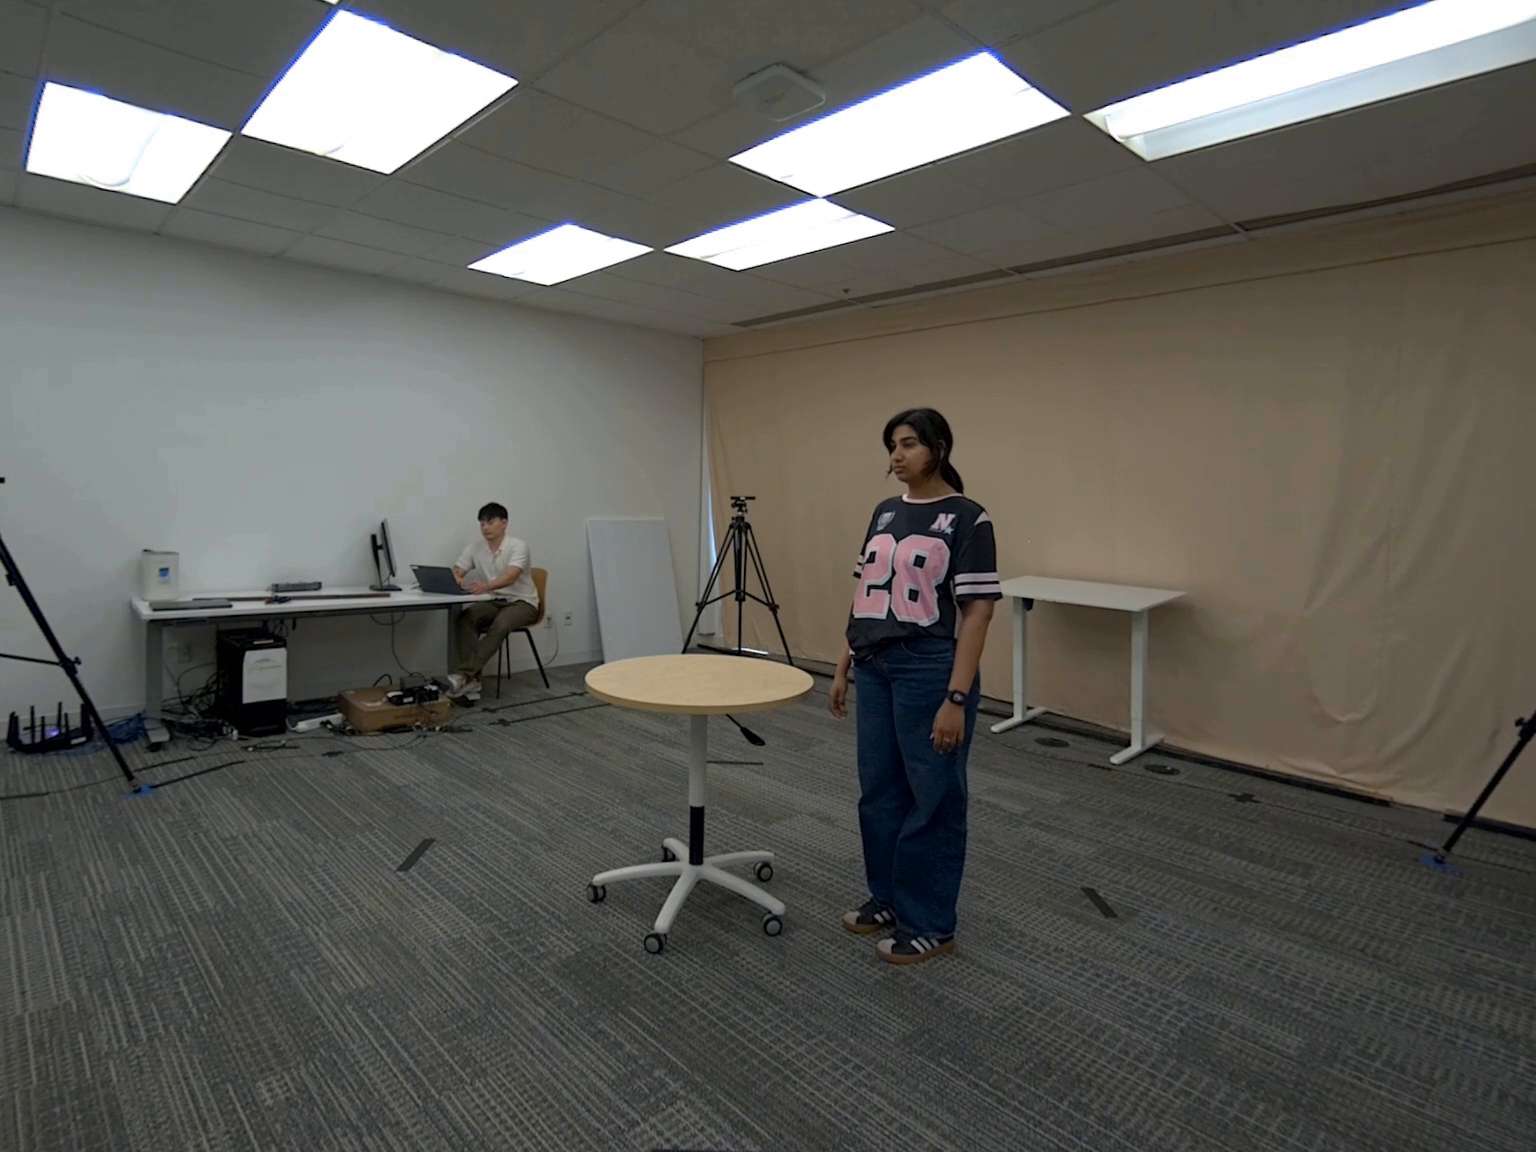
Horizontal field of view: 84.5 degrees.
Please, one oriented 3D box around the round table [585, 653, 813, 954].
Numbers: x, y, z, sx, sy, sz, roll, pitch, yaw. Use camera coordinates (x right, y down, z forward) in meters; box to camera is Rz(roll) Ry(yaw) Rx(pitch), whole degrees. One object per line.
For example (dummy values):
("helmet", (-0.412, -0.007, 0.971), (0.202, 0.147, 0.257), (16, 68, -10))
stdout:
("round table", (-0.247, 0.734, 2.873), (0.763, 0.791, 0.767), (1, 5, -1))
